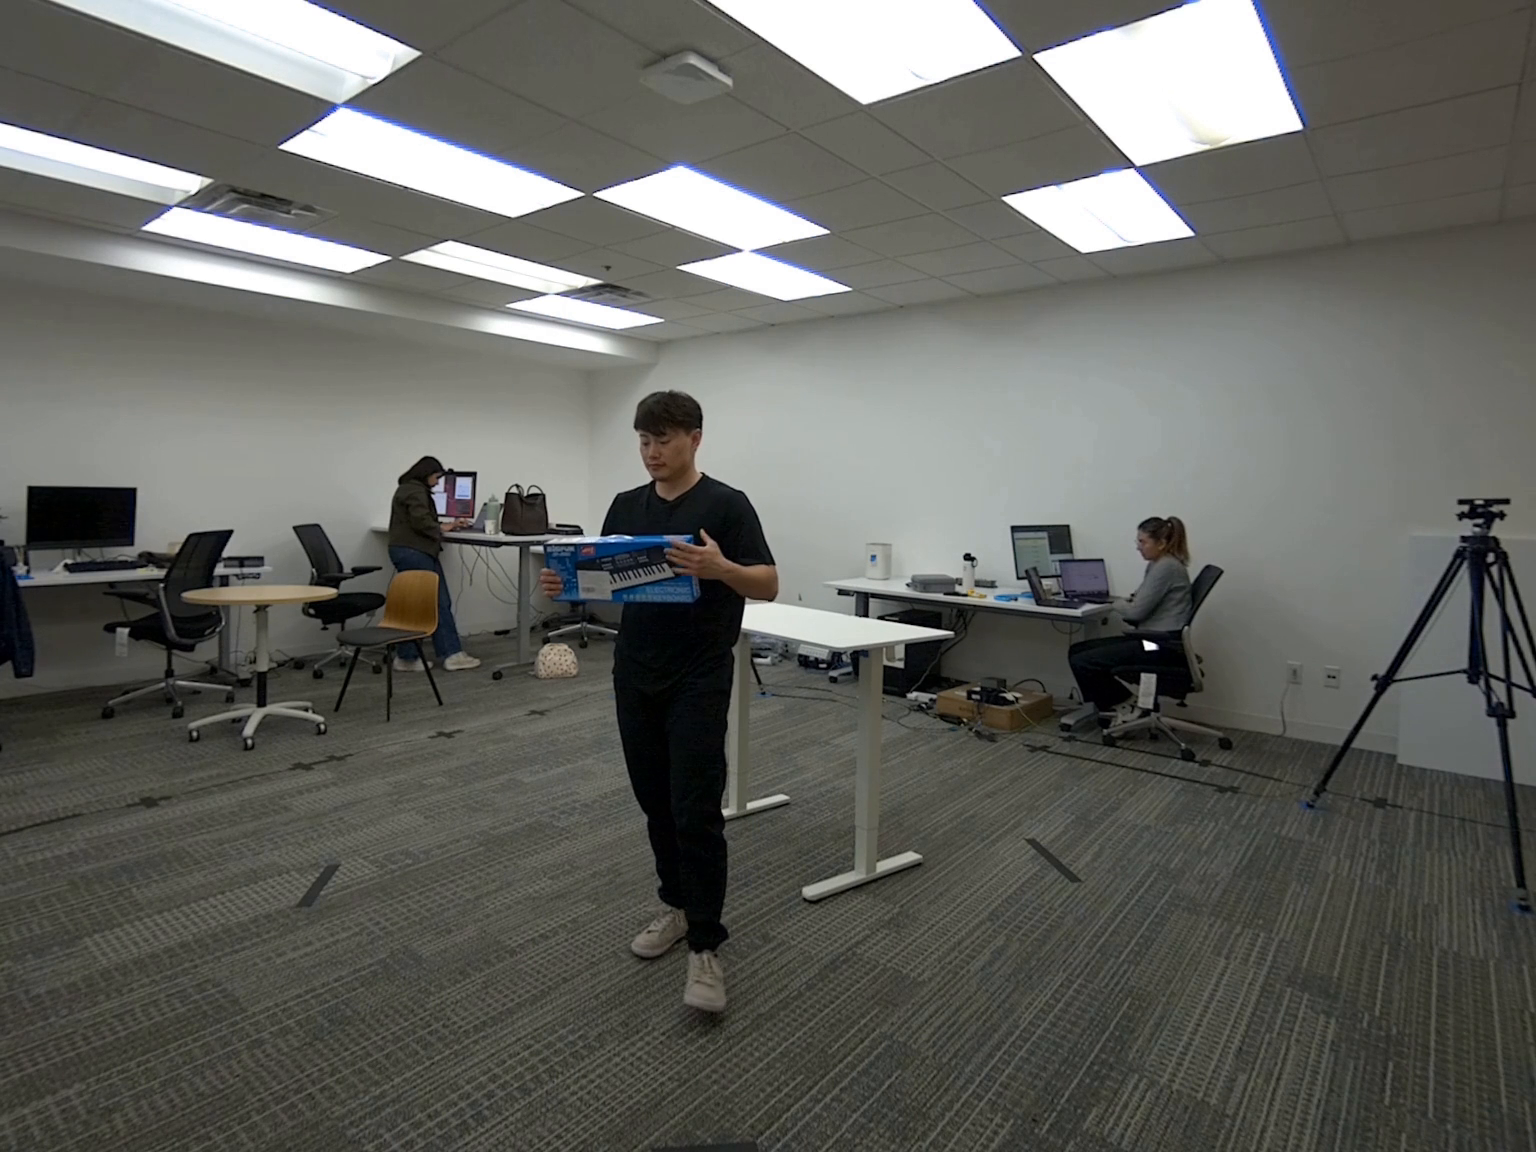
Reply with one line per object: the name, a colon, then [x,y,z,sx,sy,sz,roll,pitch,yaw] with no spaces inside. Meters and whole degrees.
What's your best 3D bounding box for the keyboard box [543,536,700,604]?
keyboard box: [-0.413,-0.011,2.346,0.446,0.173,0.059,0,15,20]
